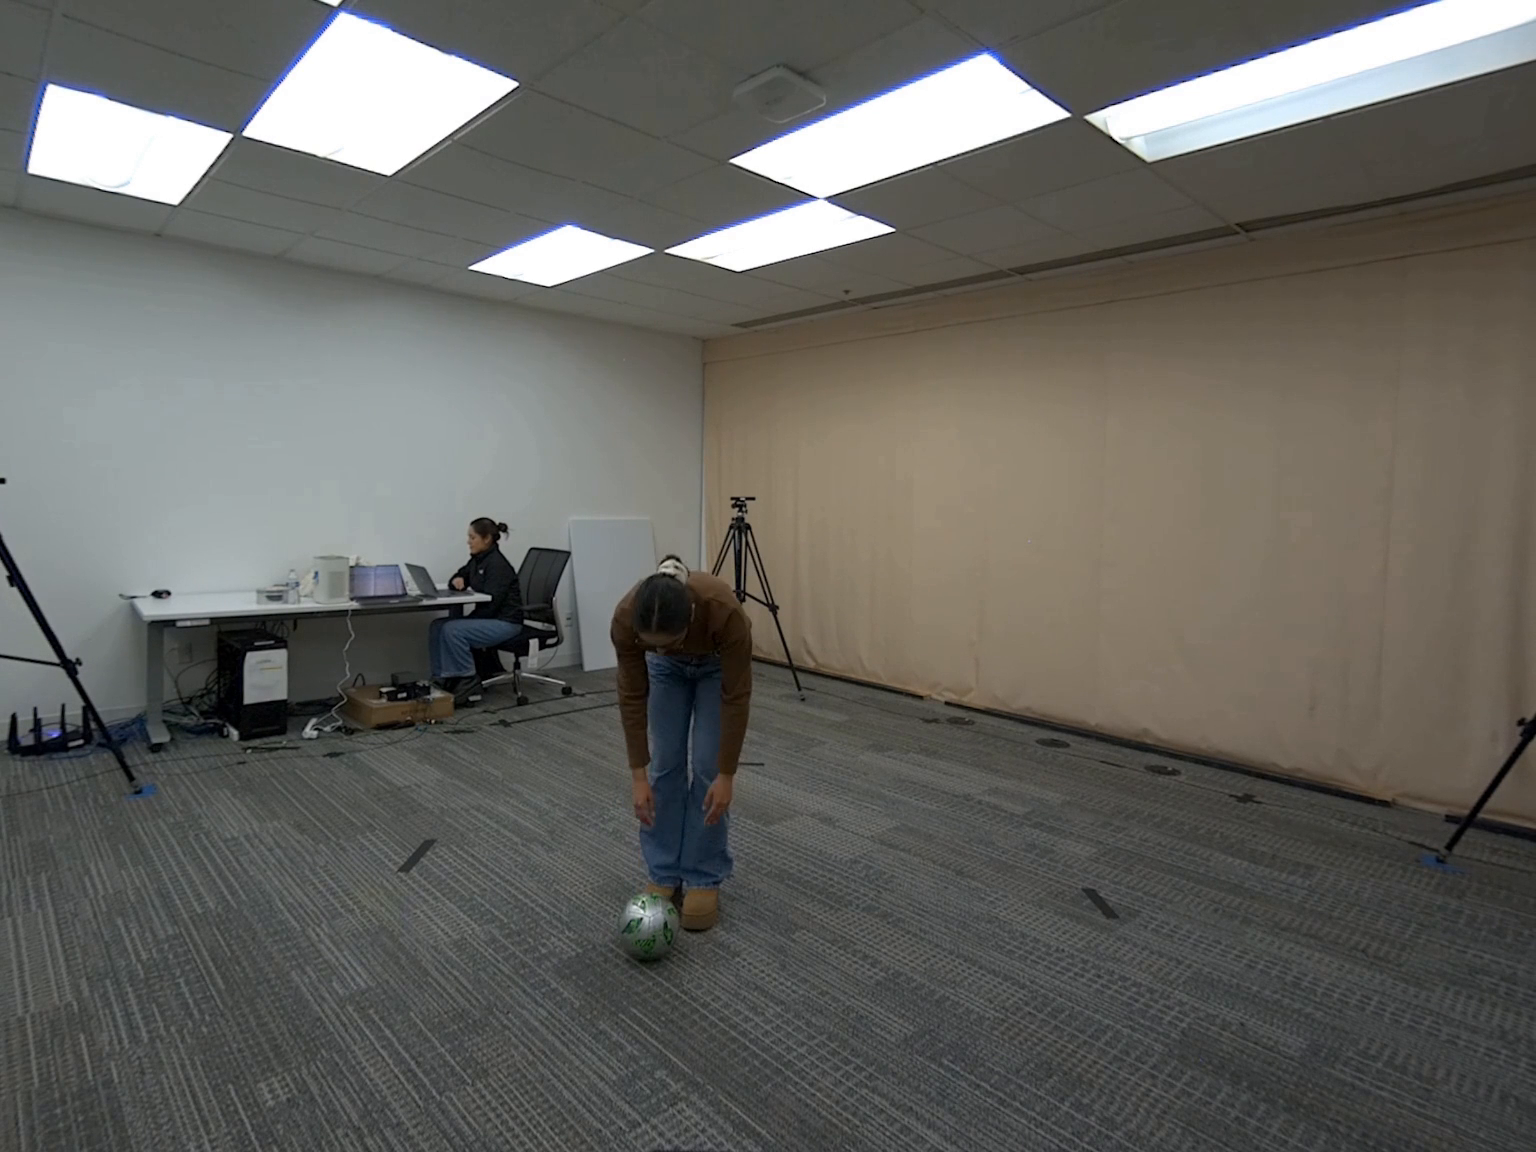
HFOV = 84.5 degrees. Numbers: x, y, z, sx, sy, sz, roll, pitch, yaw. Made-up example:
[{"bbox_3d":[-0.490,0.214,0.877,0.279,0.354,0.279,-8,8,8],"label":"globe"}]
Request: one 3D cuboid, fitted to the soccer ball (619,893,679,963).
[{"bbox_3d":[-0.377,1.060,2.540,0.187,0.187,0.188,1,4,-1],"label":"soccer ball"}]
